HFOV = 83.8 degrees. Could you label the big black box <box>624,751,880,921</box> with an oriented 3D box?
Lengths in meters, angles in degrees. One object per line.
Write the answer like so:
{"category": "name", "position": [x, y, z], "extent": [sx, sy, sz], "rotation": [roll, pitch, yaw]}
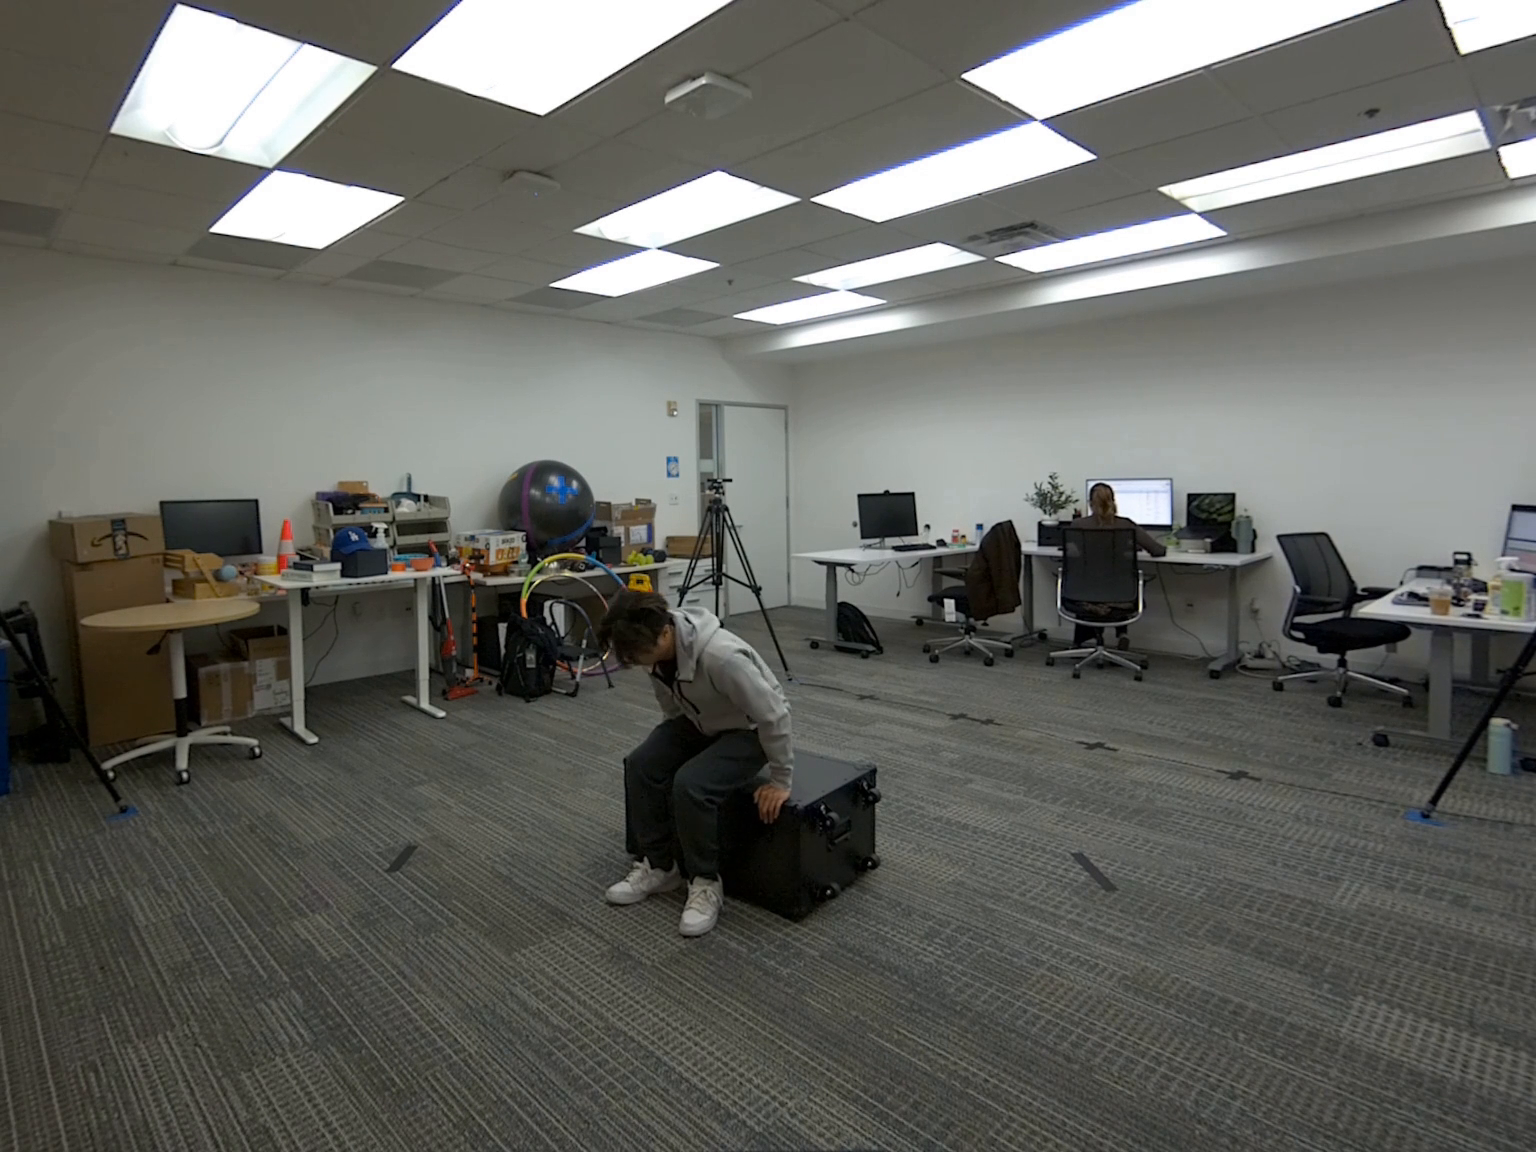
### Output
{"category": "big black box", "position": [-0.091, 0.859, 3.116], "extent": [0.887, 0.394, 0.508], "rotation": [4, 7, 38]}
